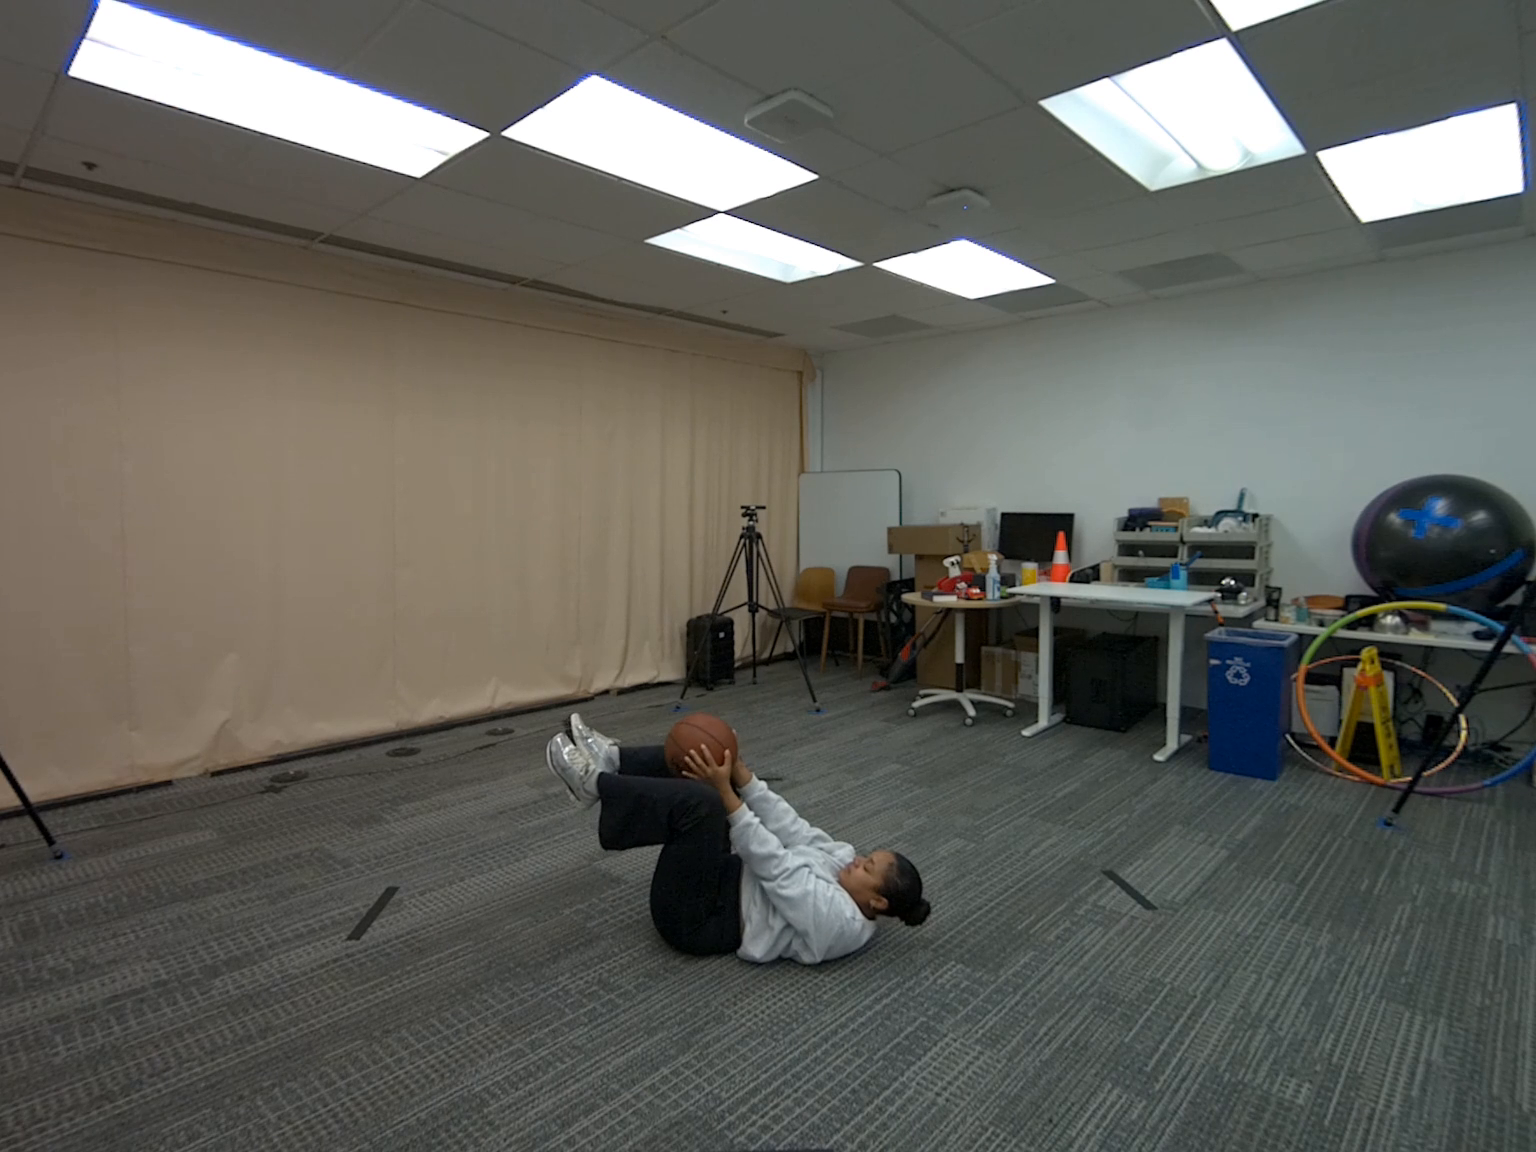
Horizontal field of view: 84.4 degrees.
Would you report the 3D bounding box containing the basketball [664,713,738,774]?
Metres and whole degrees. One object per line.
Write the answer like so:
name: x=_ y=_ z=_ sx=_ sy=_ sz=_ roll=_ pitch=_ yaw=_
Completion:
basketball: x=-0.212 y=0.563 z=2.725 sx=0.235 sy=0.235 sz=0.237 roll=1 pitch=4 yaw=-2
